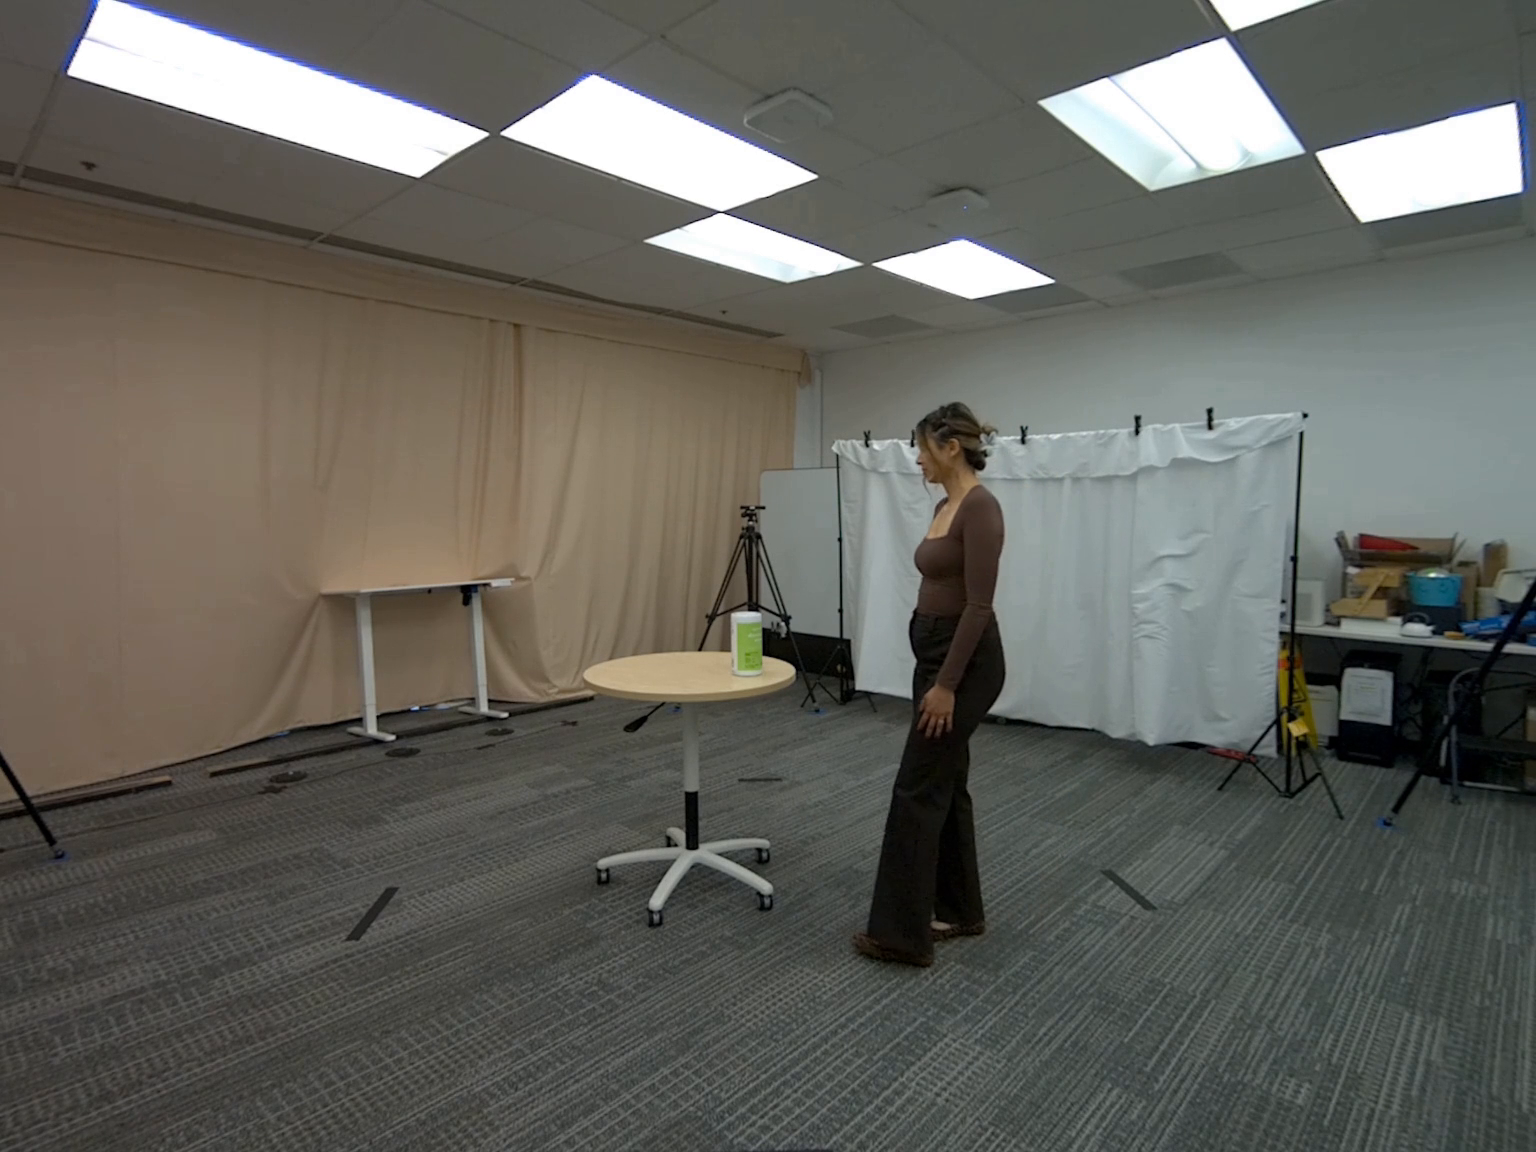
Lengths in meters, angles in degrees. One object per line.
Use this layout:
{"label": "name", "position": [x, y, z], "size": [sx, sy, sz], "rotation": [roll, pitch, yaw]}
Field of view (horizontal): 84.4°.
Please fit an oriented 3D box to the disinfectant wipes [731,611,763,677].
{"label": "disinfectant wipes", "position": [-0.073, 0.238, 2.976], "size": [0.118, 0.217, 0.118], "rotation": [1, 3, -2]}
